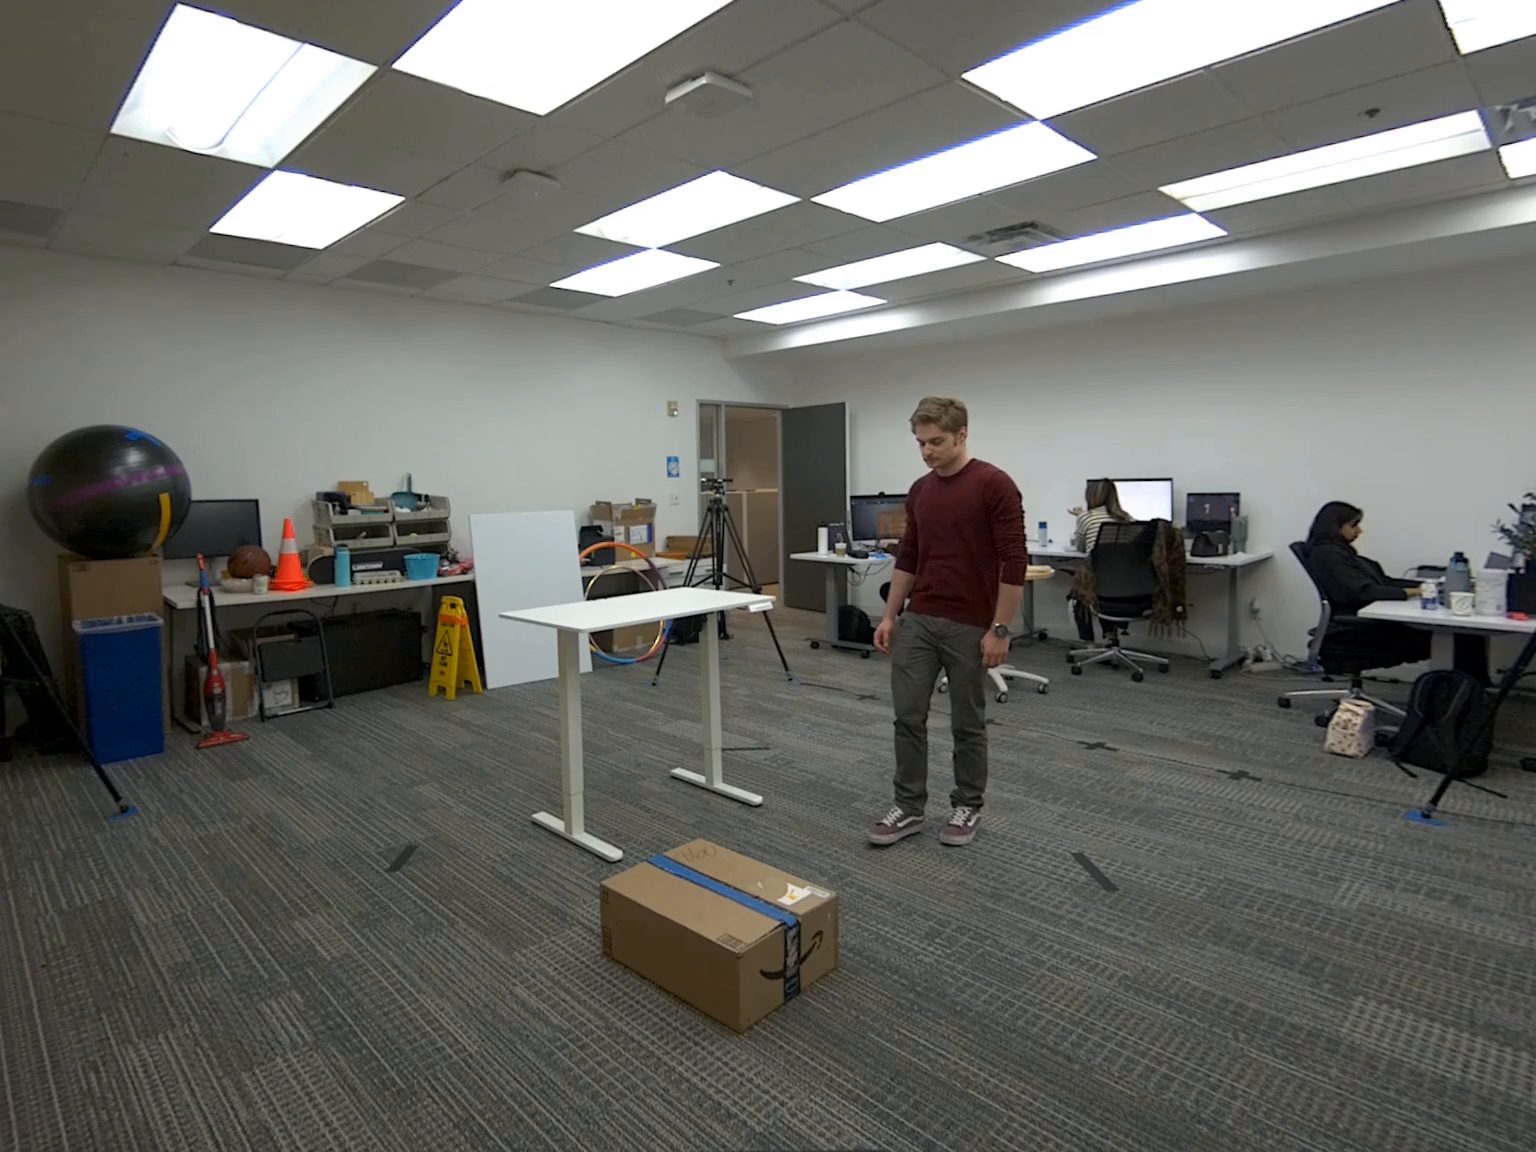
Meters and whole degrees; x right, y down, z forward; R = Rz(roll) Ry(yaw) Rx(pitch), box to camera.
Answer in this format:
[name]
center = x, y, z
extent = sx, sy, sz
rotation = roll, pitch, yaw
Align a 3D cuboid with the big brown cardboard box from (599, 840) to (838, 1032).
[big brown cardboard box]
center = -0.142, 1.011, 2.480
extent = 0.607, 0.232, 0.407
rotation = 4, 8, 42
